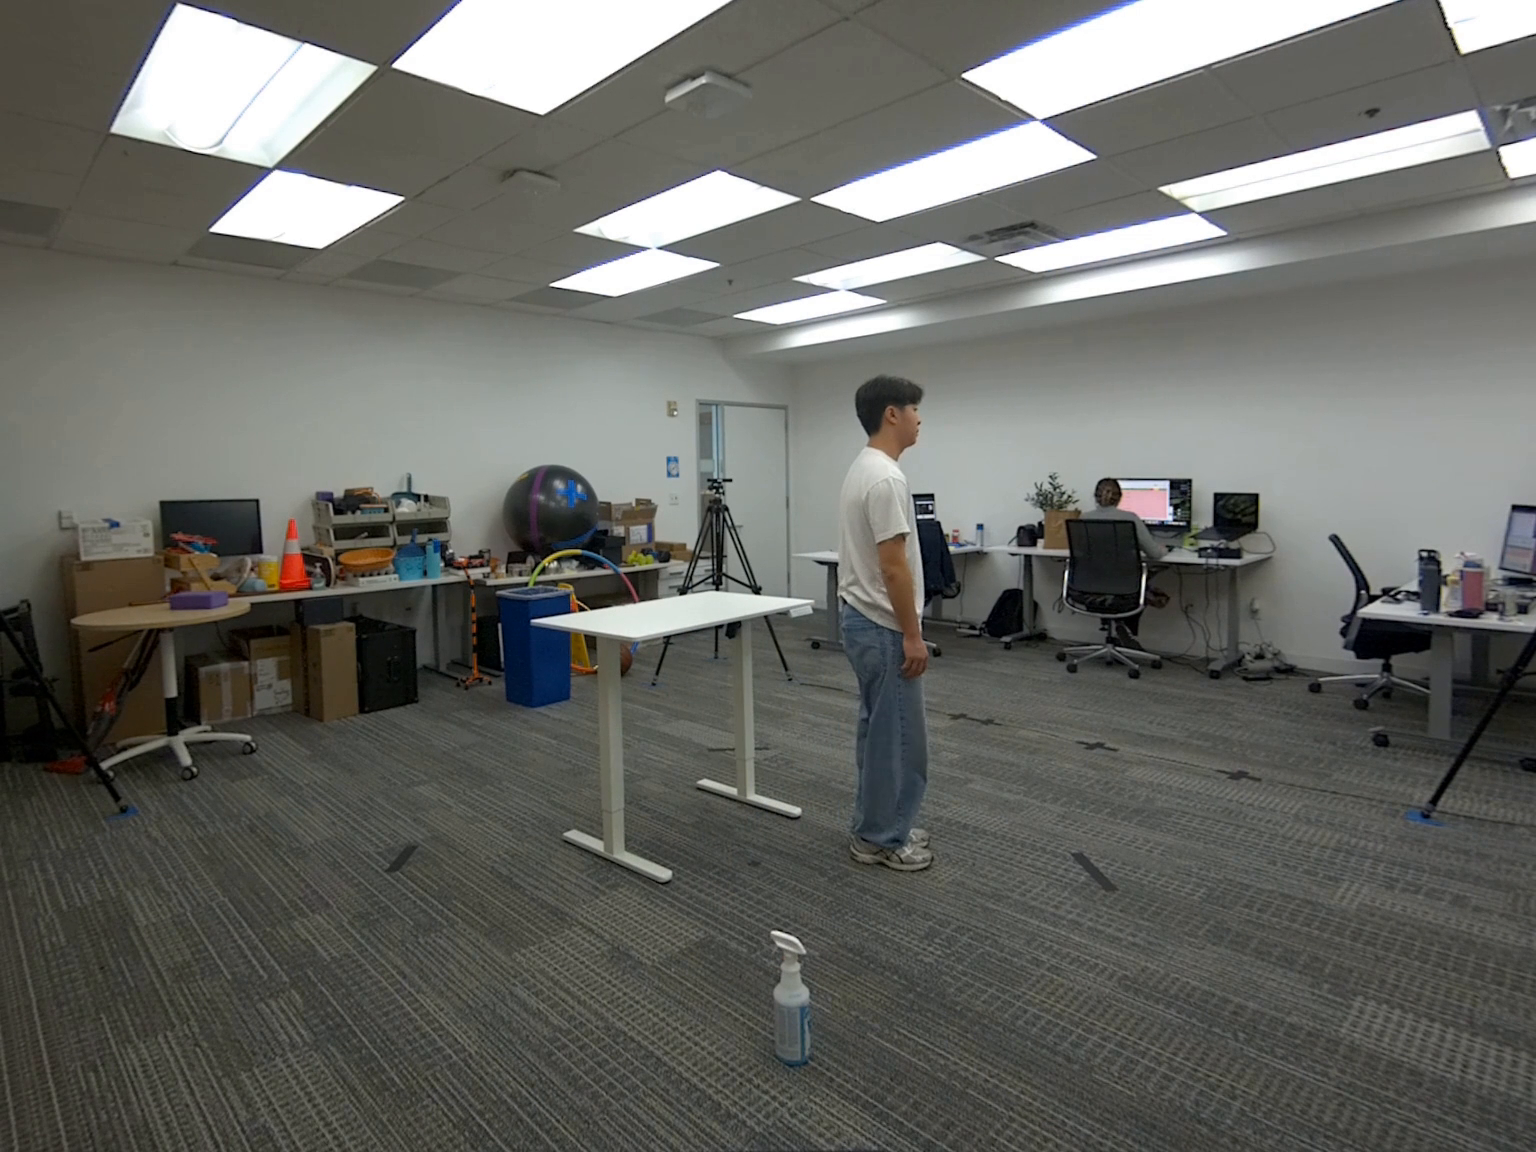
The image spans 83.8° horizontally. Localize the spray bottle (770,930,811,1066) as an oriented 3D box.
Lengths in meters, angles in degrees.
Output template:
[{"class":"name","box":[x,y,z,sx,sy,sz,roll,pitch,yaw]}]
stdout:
[{"class":"spray bottle","box":[0.065,1.027,2.059,0.085,0.296,0.092,-5,4,-36]}]
